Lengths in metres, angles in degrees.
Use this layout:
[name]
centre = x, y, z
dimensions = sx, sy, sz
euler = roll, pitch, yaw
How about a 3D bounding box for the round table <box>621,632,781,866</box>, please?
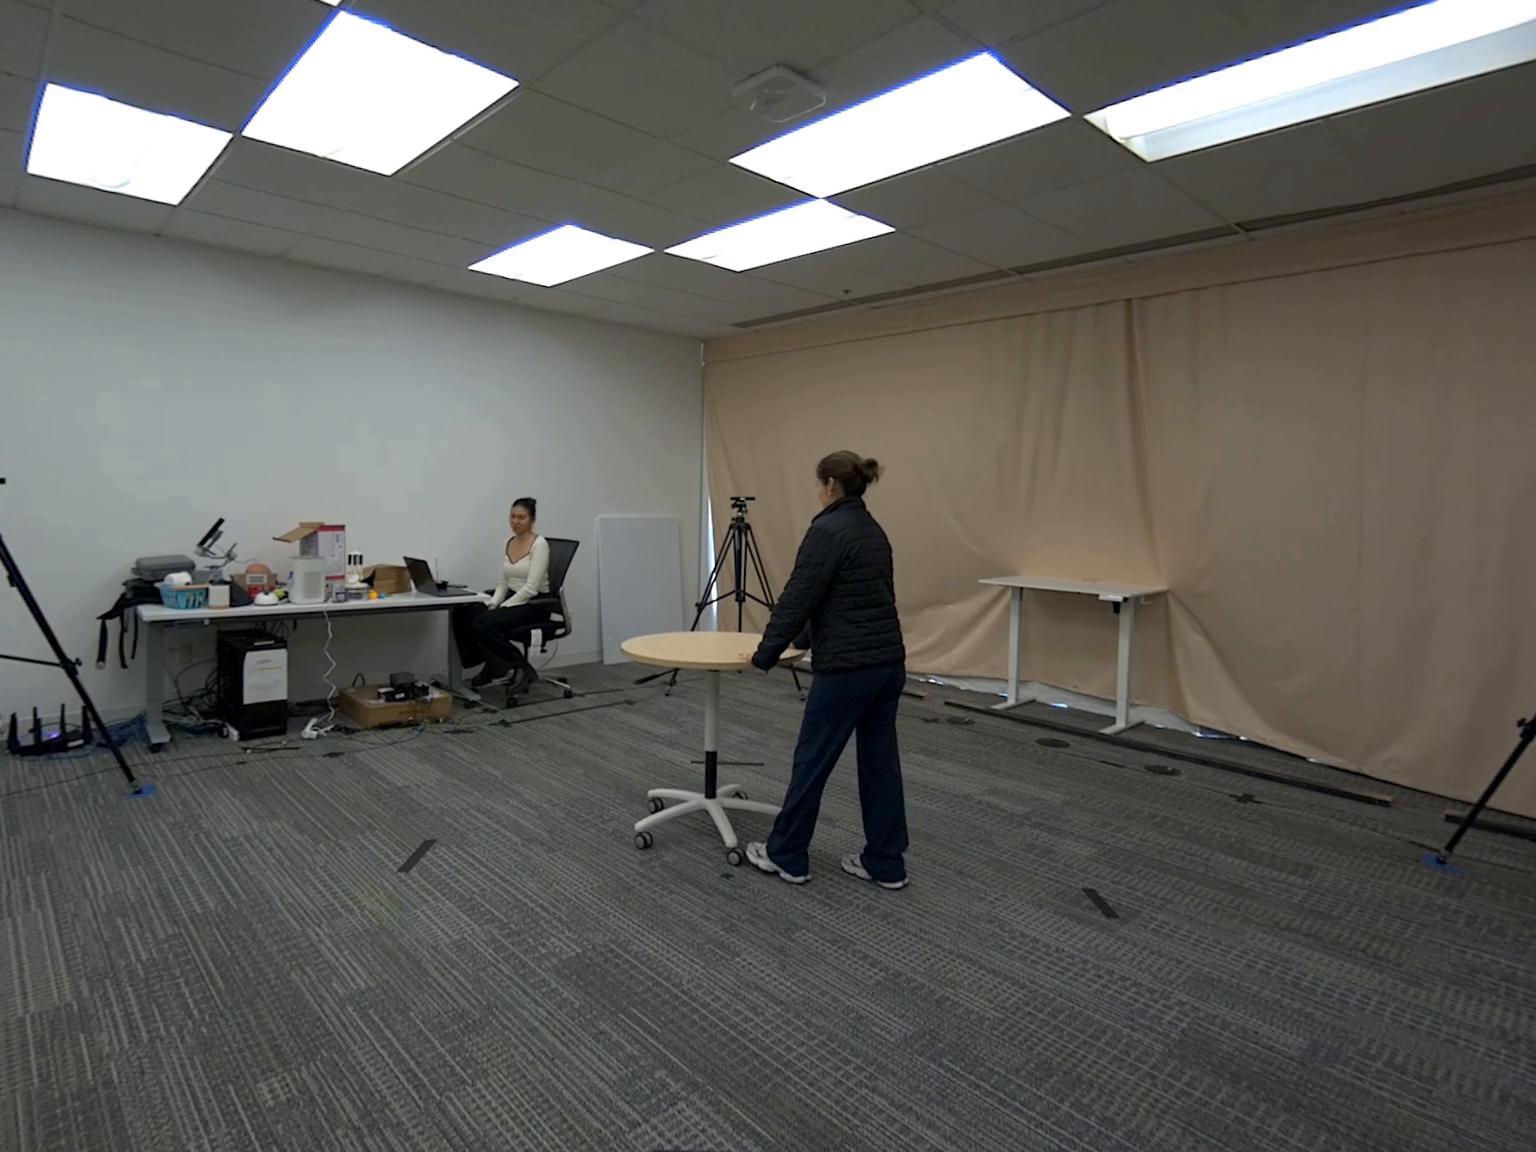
[round table]
centre = -0.225, 0.677, 3.498
dimensions = 0.784, 0.785, 0.787
euler = 1, 3, -1
